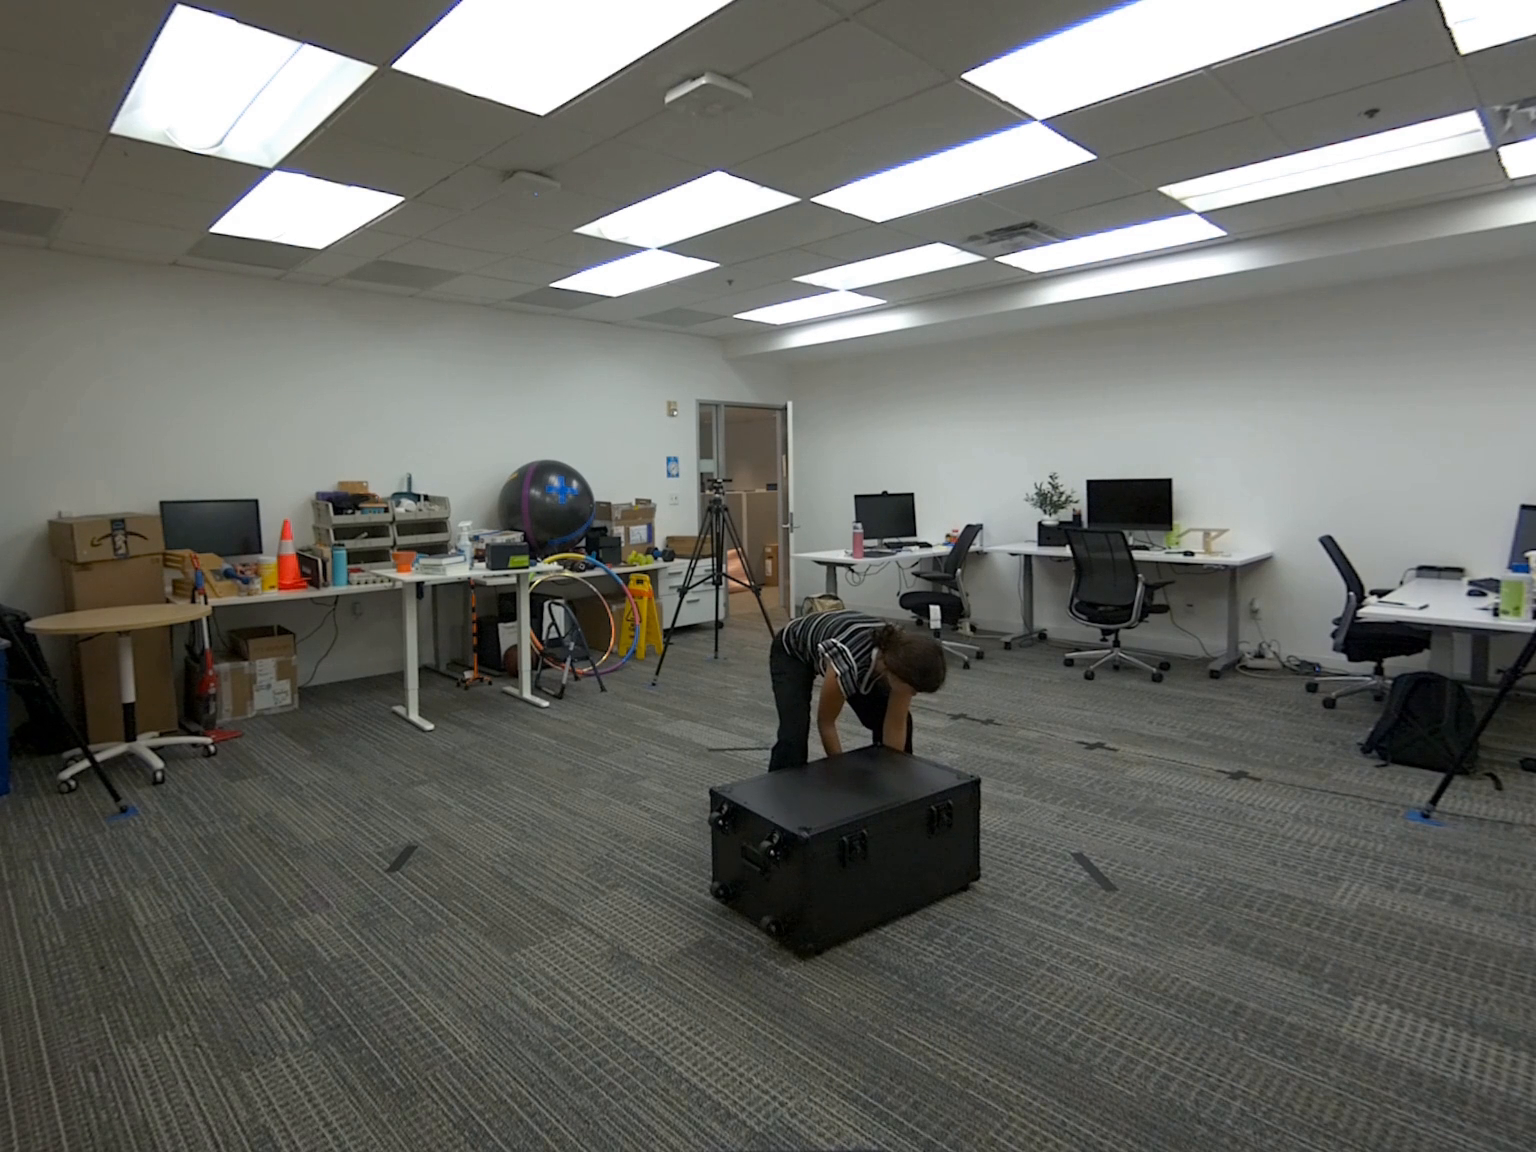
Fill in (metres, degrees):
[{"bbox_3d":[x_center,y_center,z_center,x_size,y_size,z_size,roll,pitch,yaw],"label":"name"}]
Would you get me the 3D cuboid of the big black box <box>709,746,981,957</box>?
[{"bbox_3d":[0.240,0.885,2.831,0.839,0.395,0.537,-5,7,-36],"label":"big black box"}]
